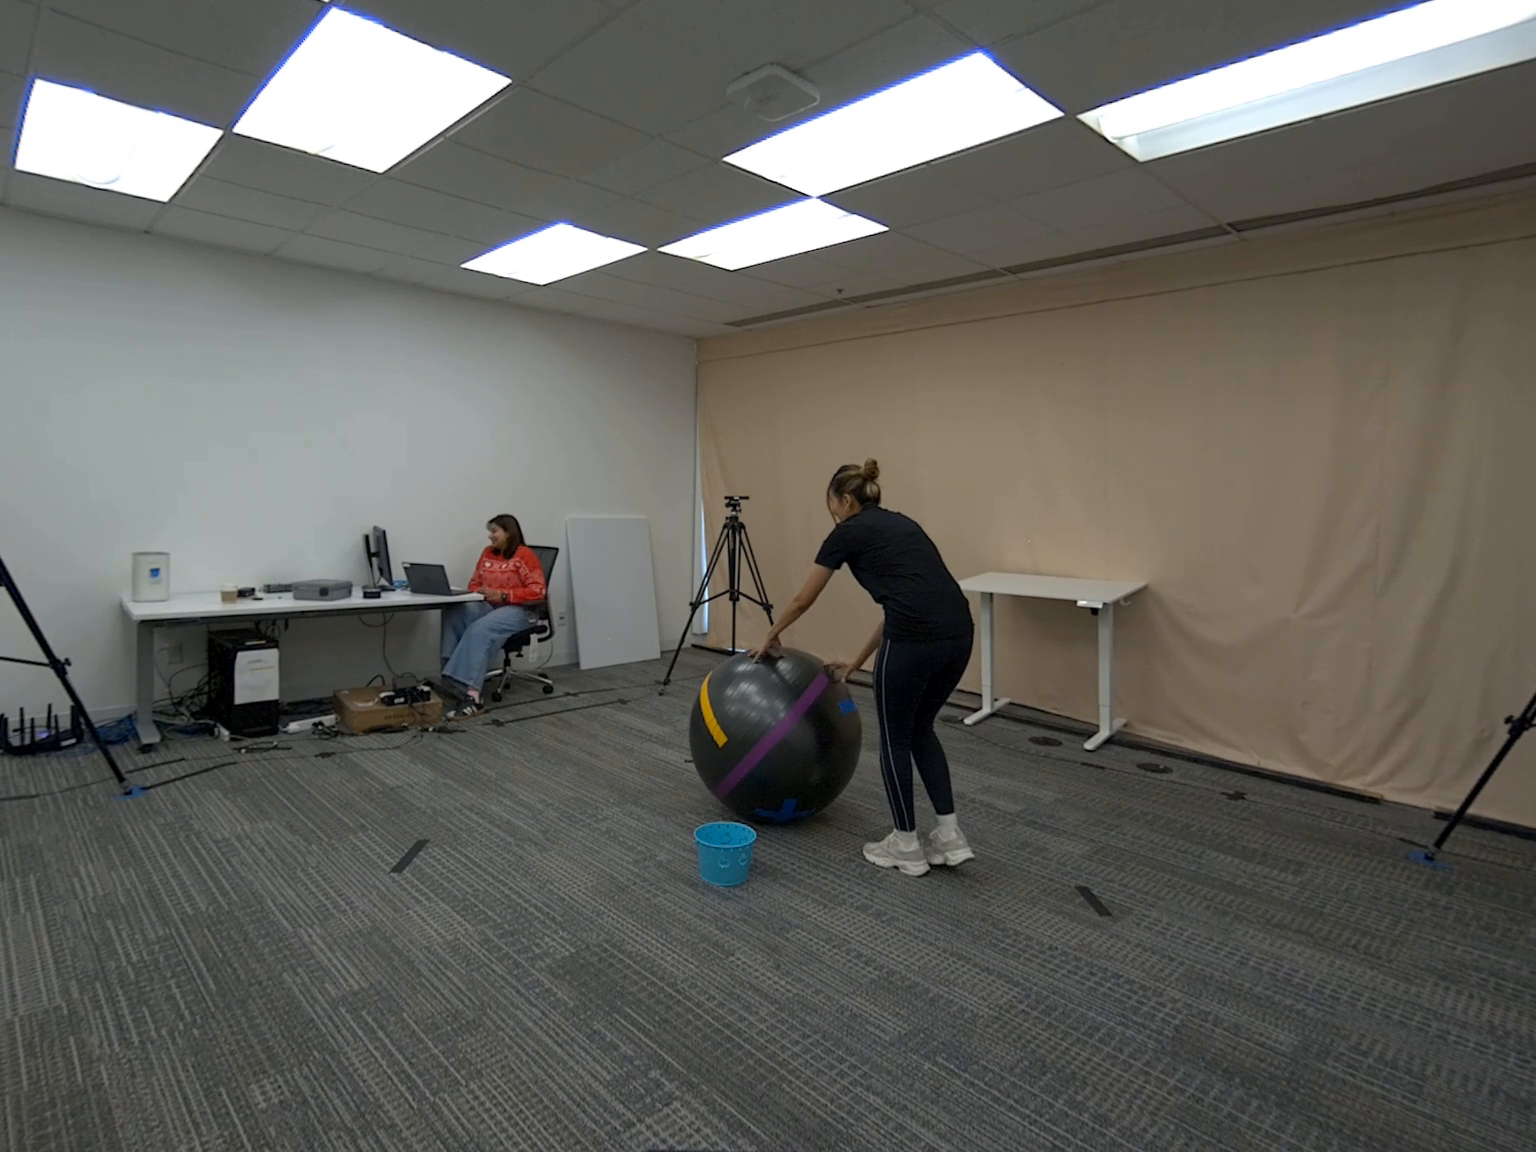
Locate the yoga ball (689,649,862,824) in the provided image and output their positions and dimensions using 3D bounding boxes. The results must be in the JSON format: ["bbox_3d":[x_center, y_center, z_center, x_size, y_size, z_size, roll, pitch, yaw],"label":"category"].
[{"bbox_3d":[0.028,0.691,3.705,0.757,0.756,0.761,1,4,-1],"label":"yoga ball"}]
